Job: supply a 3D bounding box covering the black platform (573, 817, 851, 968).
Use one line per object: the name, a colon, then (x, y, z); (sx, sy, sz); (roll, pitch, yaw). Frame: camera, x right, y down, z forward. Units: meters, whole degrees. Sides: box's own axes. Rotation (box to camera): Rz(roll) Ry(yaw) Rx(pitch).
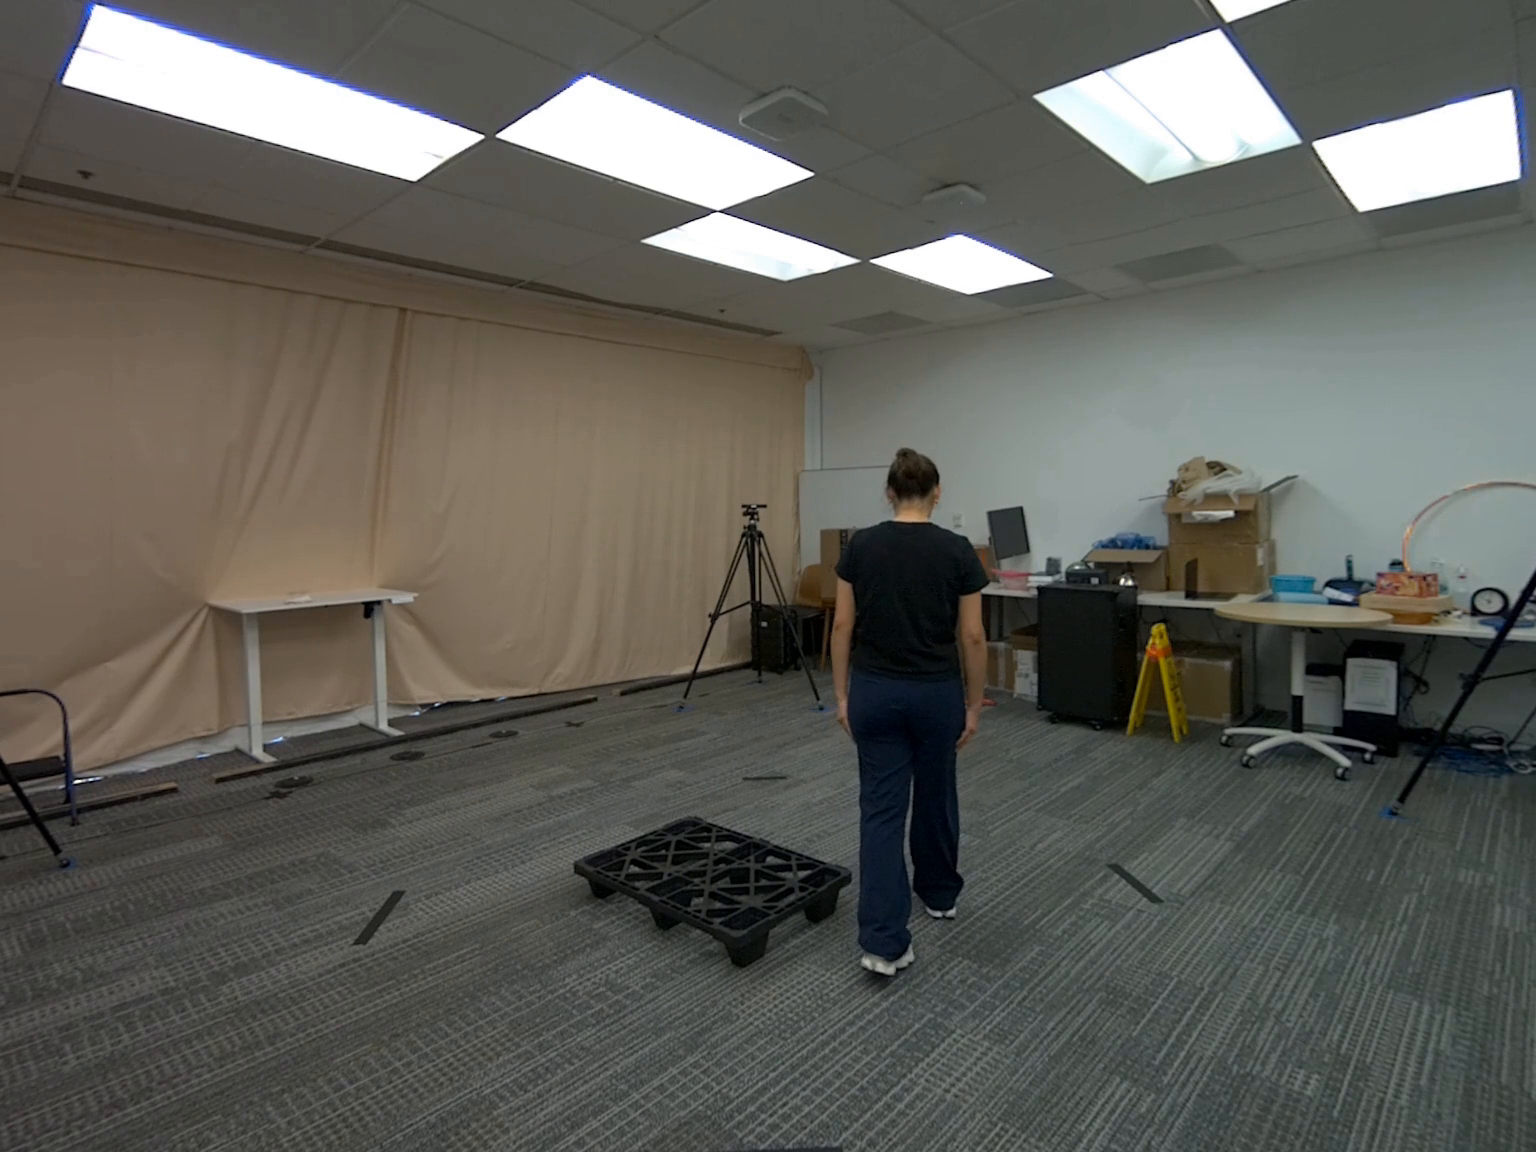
black platform: (-0.189, 1.085, 2.940); (0.832, 0.143, 0.587); (3, 7, 41)
